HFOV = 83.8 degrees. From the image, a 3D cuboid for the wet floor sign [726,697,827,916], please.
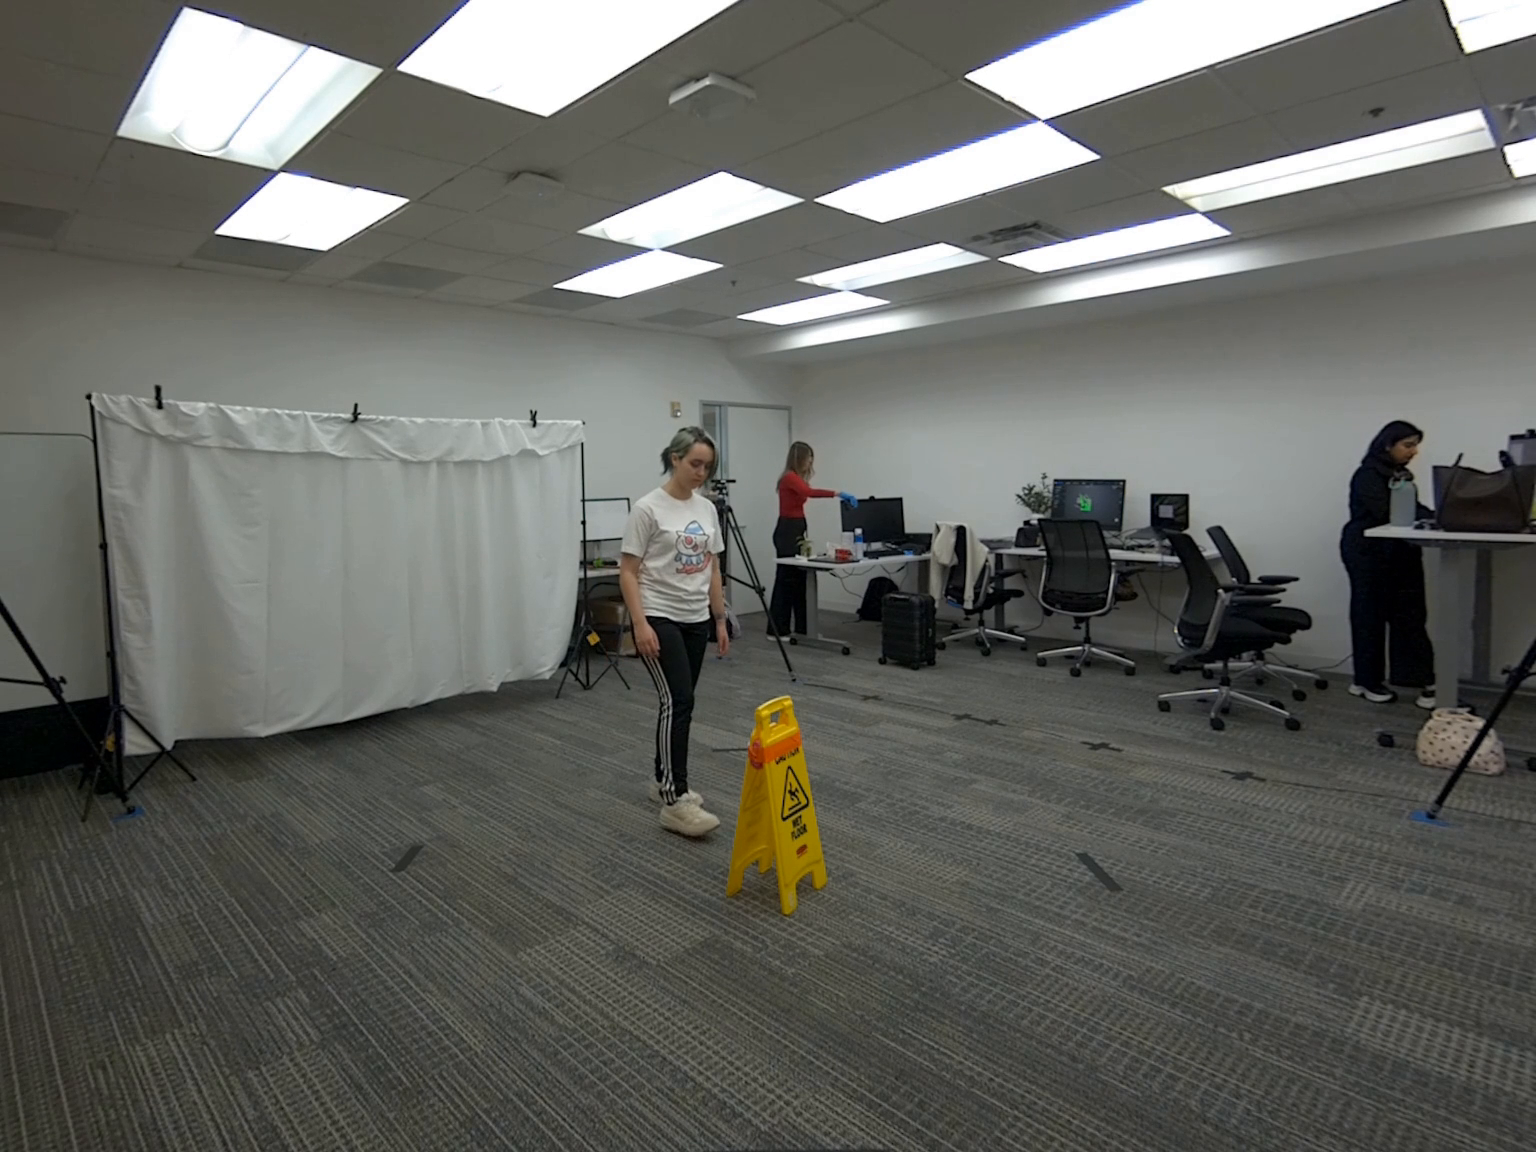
[{"bbox_3d":[0.032,0.744,2.887,0.298,0.643,0.276,3,6,33],"label":"wet floor sign"}]
